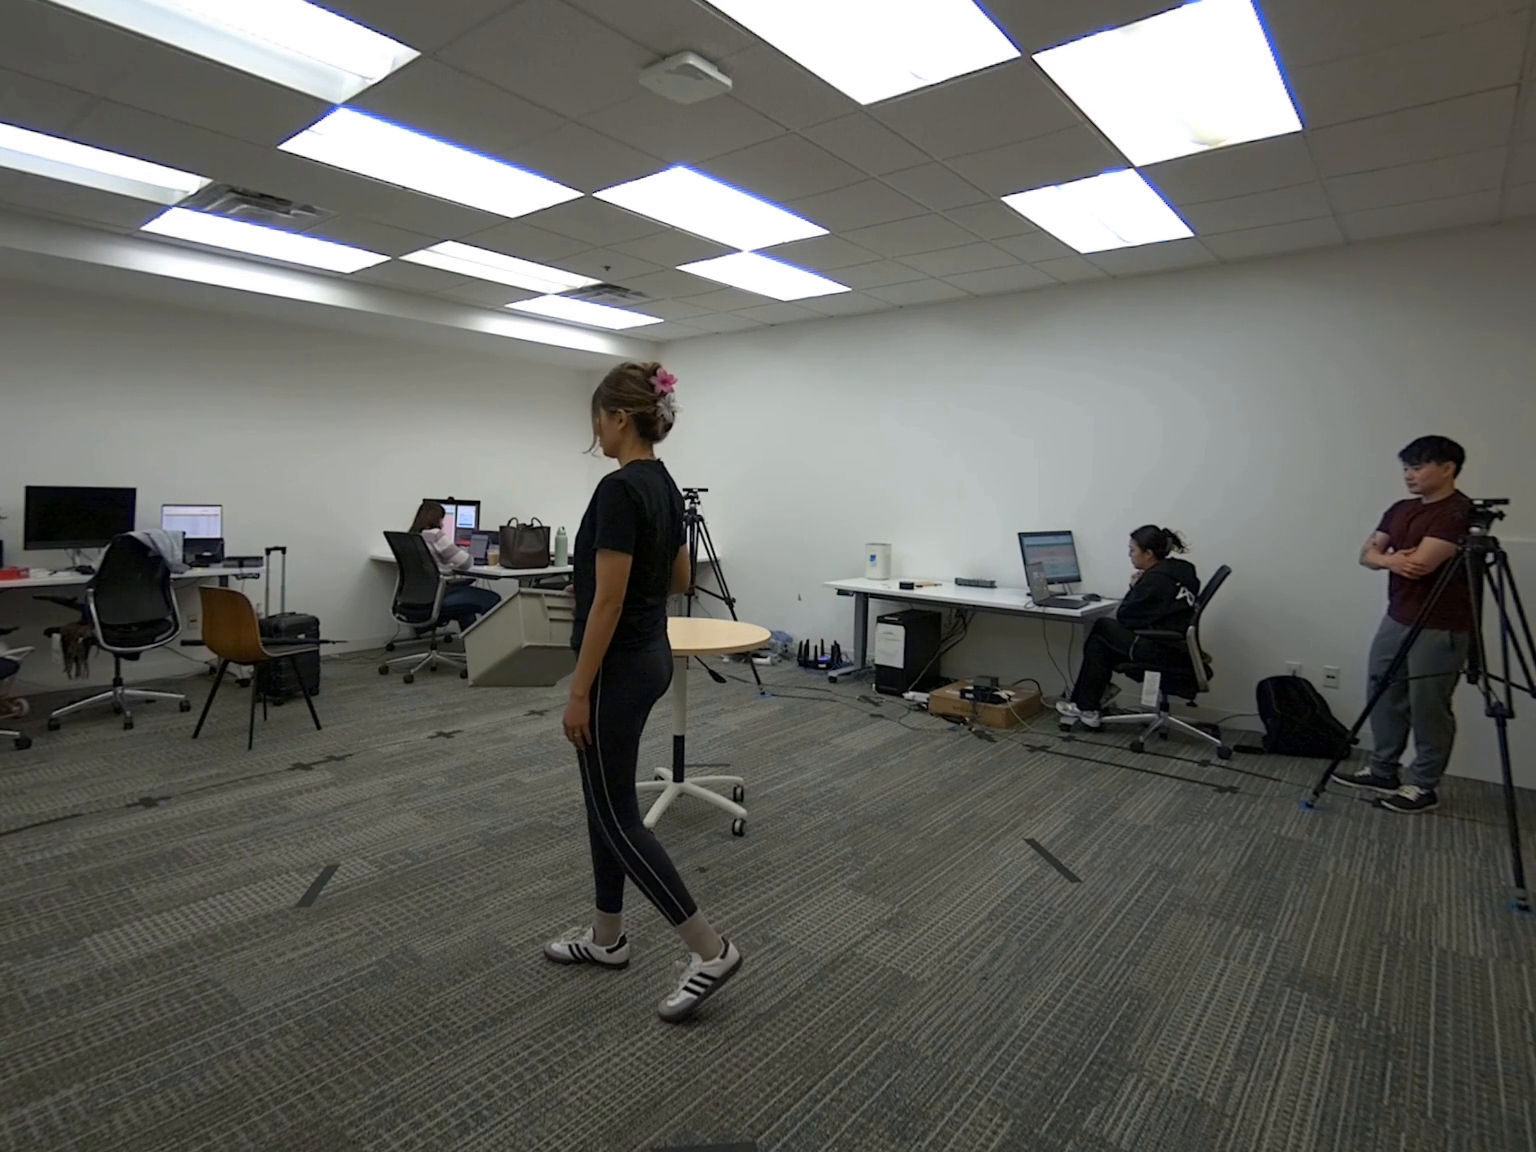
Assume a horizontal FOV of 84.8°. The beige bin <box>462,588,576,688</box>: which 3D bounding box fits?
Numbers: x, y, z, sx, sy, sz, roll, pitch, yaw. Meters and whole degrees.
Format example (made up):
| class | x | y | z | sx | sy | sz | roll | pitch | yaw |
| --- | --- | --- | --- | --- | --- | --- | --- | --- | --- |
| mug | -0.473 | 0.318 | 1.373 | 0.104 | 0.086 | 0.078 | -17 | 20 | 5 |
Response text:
| class | x | y | z | sx | sy | sz | roll | pitch | yaw |
| --- | --- | --- | --- | --- | --- | --- | --- | --- | --- |
| beige bin | -0.739 | 0.212 | 2.759 | 0.364 | 0.193 | 0.427 | 6 | -26 | -42 |
